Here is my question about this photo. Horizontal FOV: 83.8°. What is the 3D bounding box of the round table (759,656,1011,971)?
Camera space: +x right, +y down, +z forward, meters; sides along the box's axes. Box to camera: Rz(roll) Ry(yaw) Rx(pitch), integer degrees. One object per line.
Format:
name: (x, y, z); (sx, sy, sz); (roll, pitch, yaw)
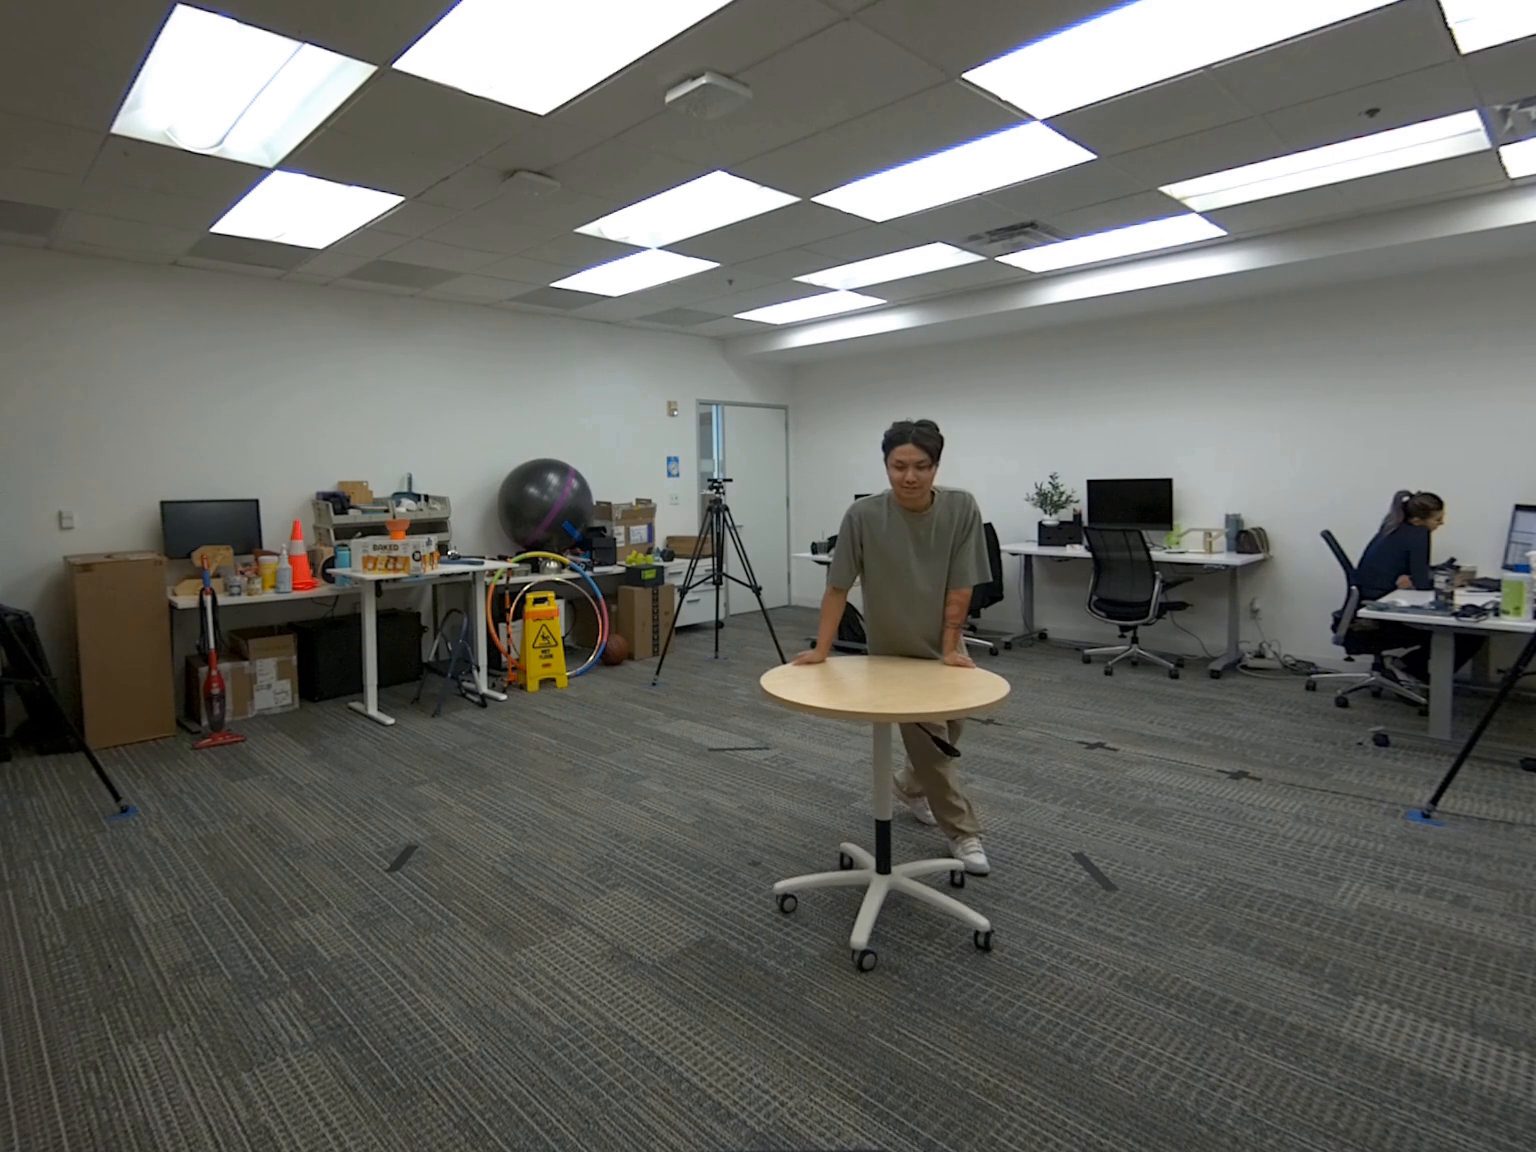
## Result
round table: (0.353, 0.703, 2.715); (0.784, 0.784, 0.789); (-1, 4, -2)
